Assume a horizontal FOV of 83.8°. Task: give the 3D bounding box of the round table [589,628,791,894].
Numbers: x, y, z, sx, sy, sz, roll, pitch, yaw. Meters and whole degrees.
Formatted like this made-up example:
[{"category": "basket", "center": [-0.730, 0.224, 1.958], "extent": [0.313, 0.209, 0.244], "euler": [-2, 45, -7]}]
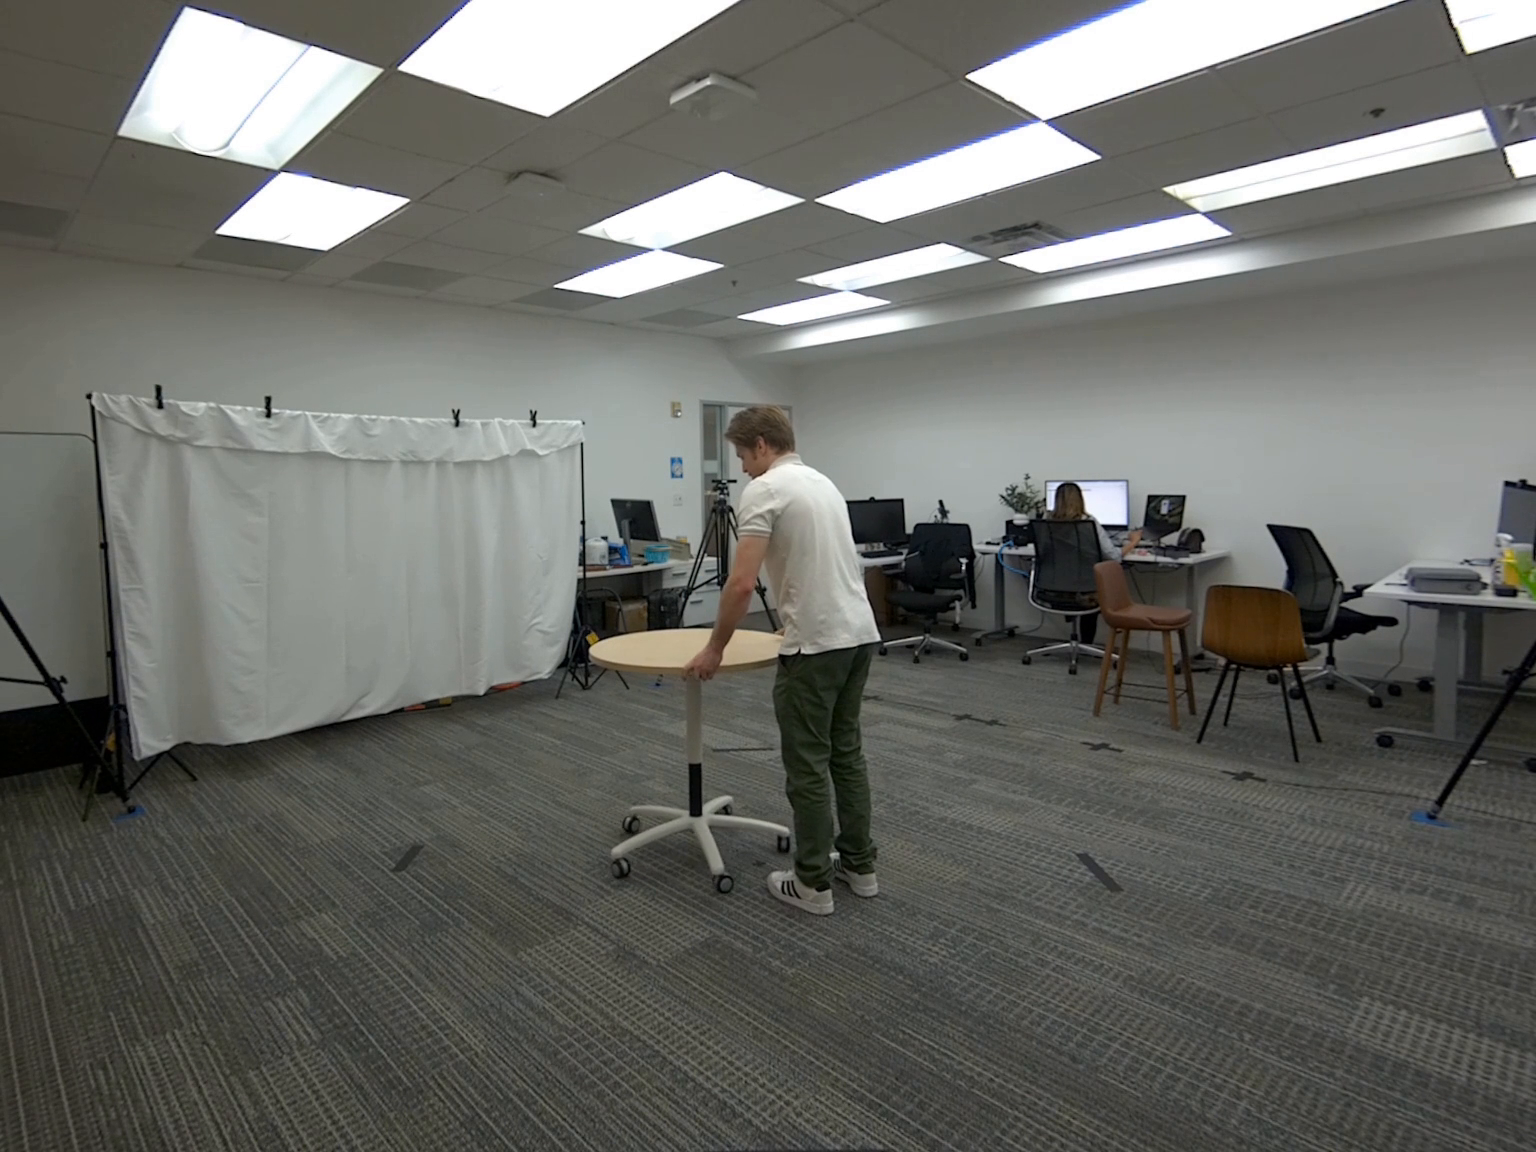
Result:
[{"category": "round table", "center": [-0.270, 0.650, 3.202], "extent": [0.763, 0.791, 0.767], "euler": [-1, 4, -2]}]
